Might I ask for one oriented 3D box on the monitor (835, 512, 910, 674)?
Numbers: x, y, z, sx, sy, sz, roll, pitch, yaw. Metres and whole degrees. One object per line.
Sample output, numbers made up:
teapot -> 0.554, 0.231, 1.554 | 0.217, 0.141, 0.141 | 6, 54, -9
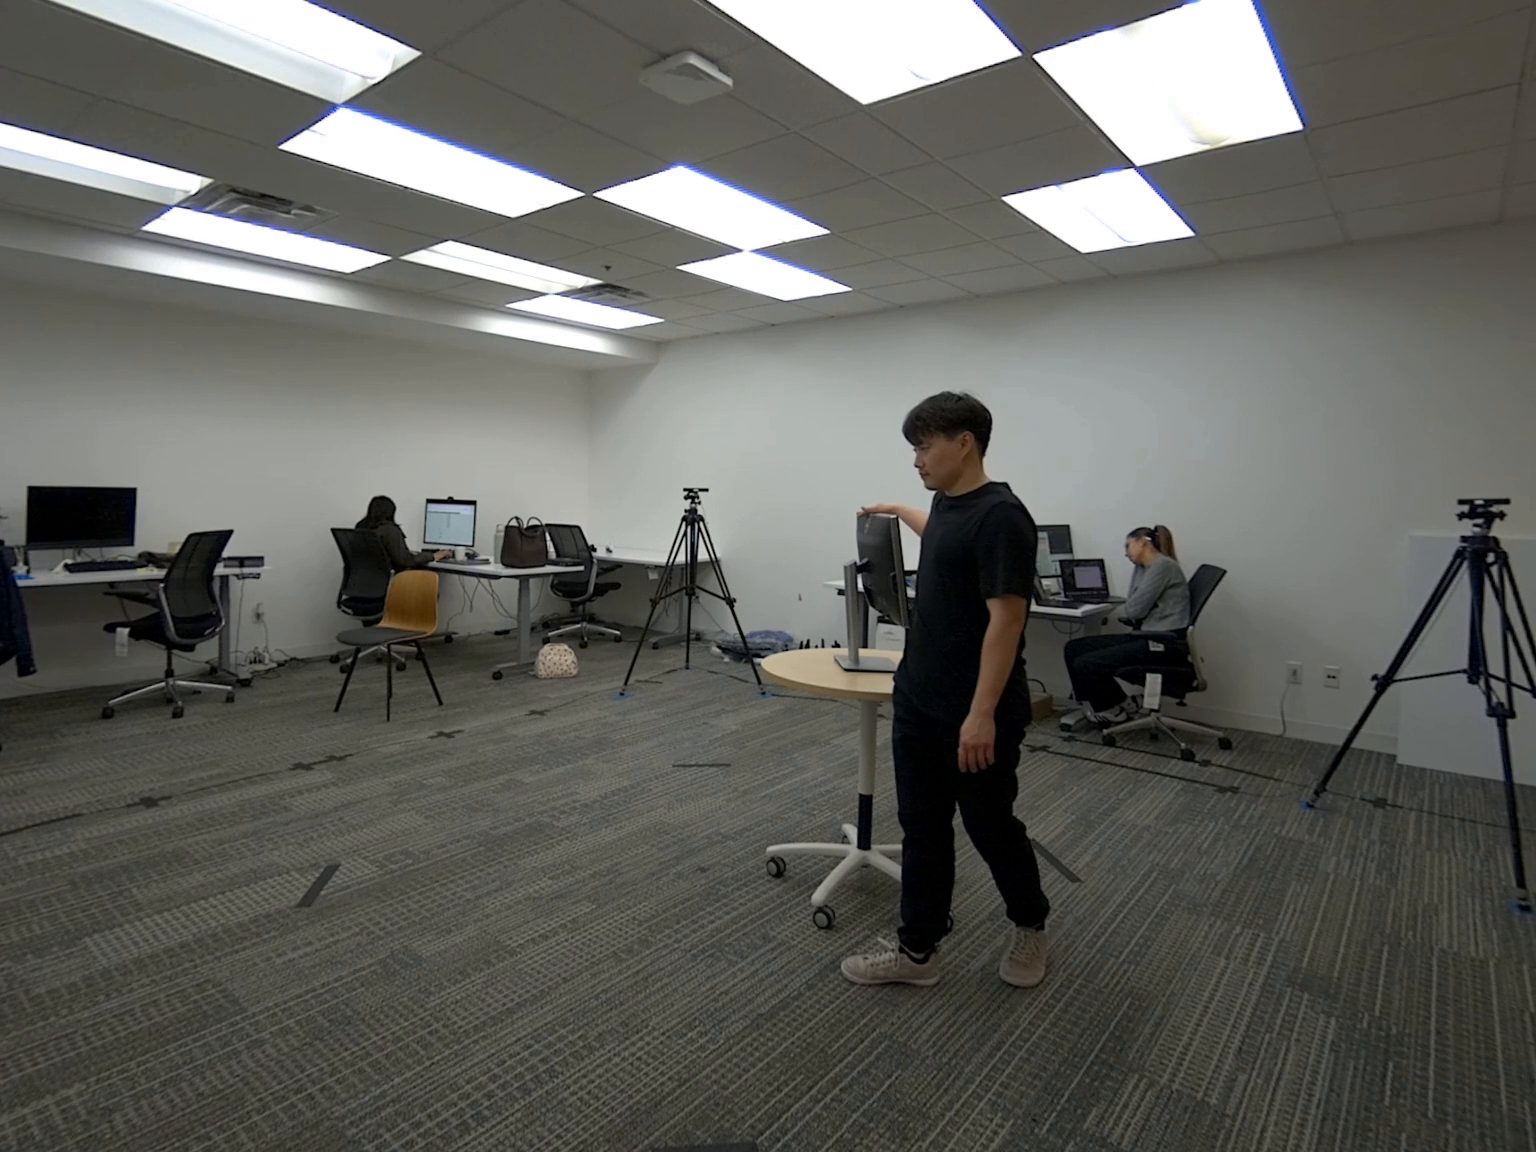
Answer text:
monitor -> 0.347, 0.049, 2.996 | 0.186, 0.521, 0.544 | 4, 4, -7
